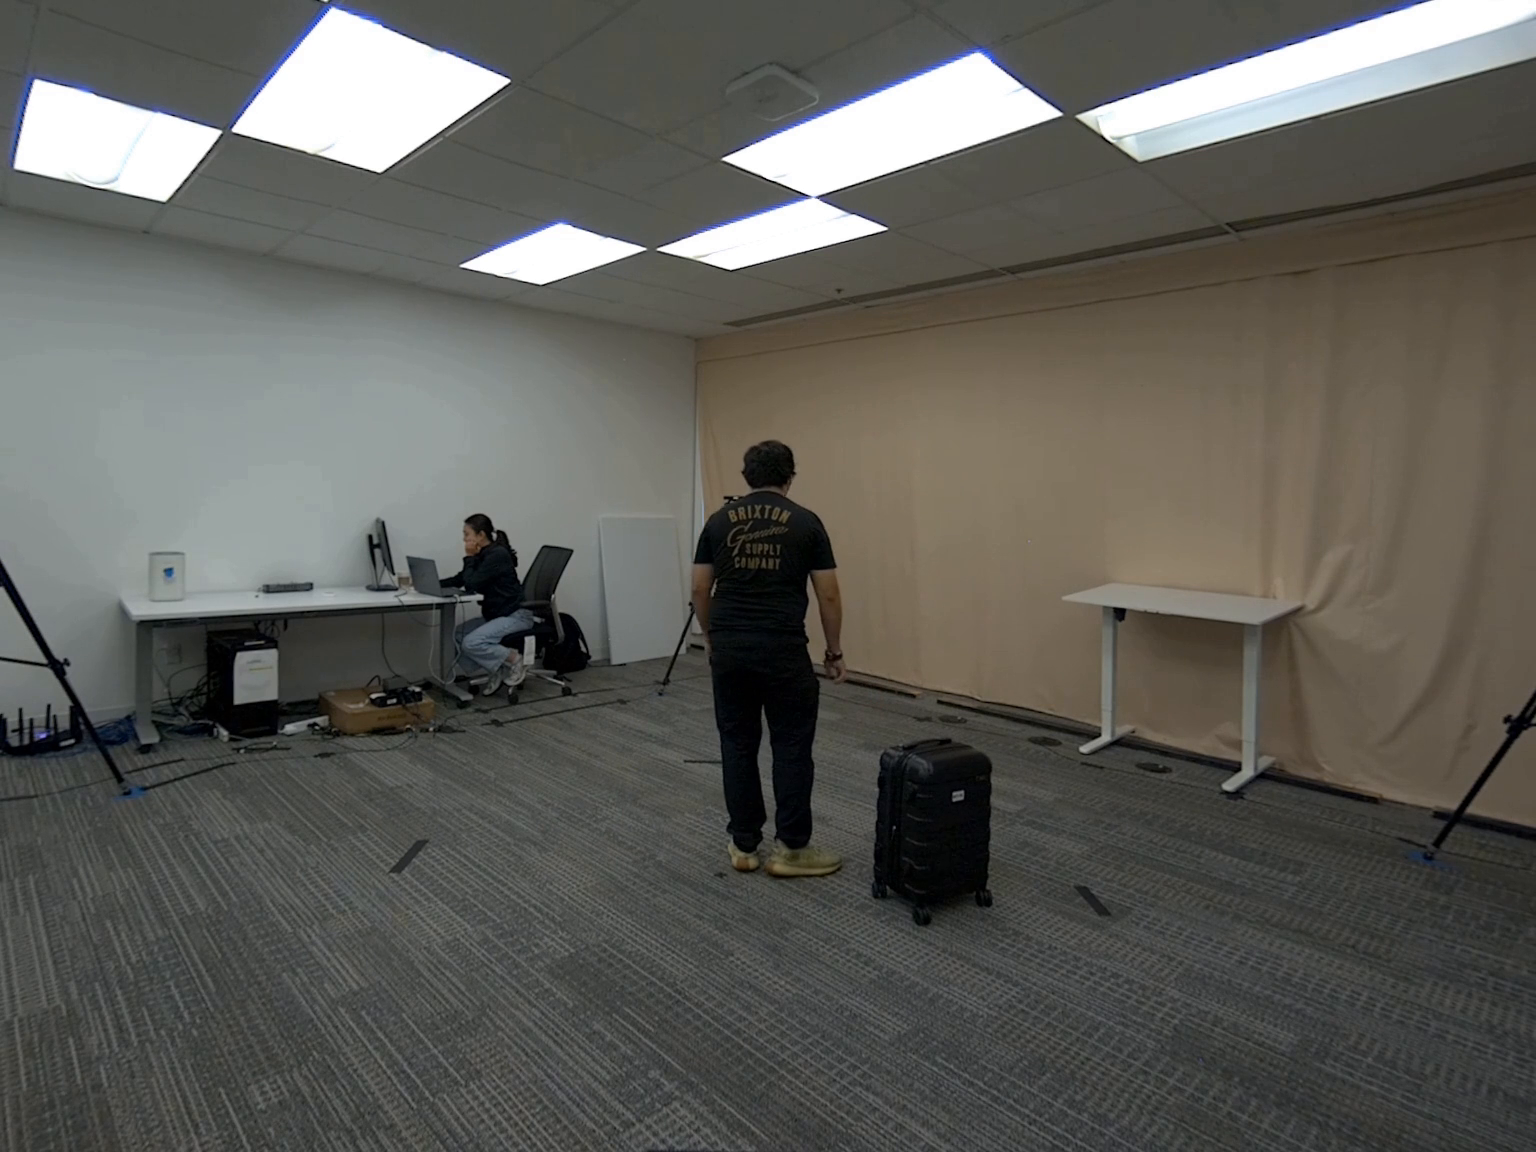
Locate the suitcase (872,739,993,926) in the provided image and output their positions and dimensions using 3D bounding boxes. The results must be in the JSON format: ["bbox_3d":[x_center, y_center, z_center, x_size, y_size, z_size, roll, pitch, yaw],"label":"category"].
[{"bbox_3d":[0.573,0.868,2.938,0.367,0.548,0.254,0,2,-33],"label":"suitcase"}]
